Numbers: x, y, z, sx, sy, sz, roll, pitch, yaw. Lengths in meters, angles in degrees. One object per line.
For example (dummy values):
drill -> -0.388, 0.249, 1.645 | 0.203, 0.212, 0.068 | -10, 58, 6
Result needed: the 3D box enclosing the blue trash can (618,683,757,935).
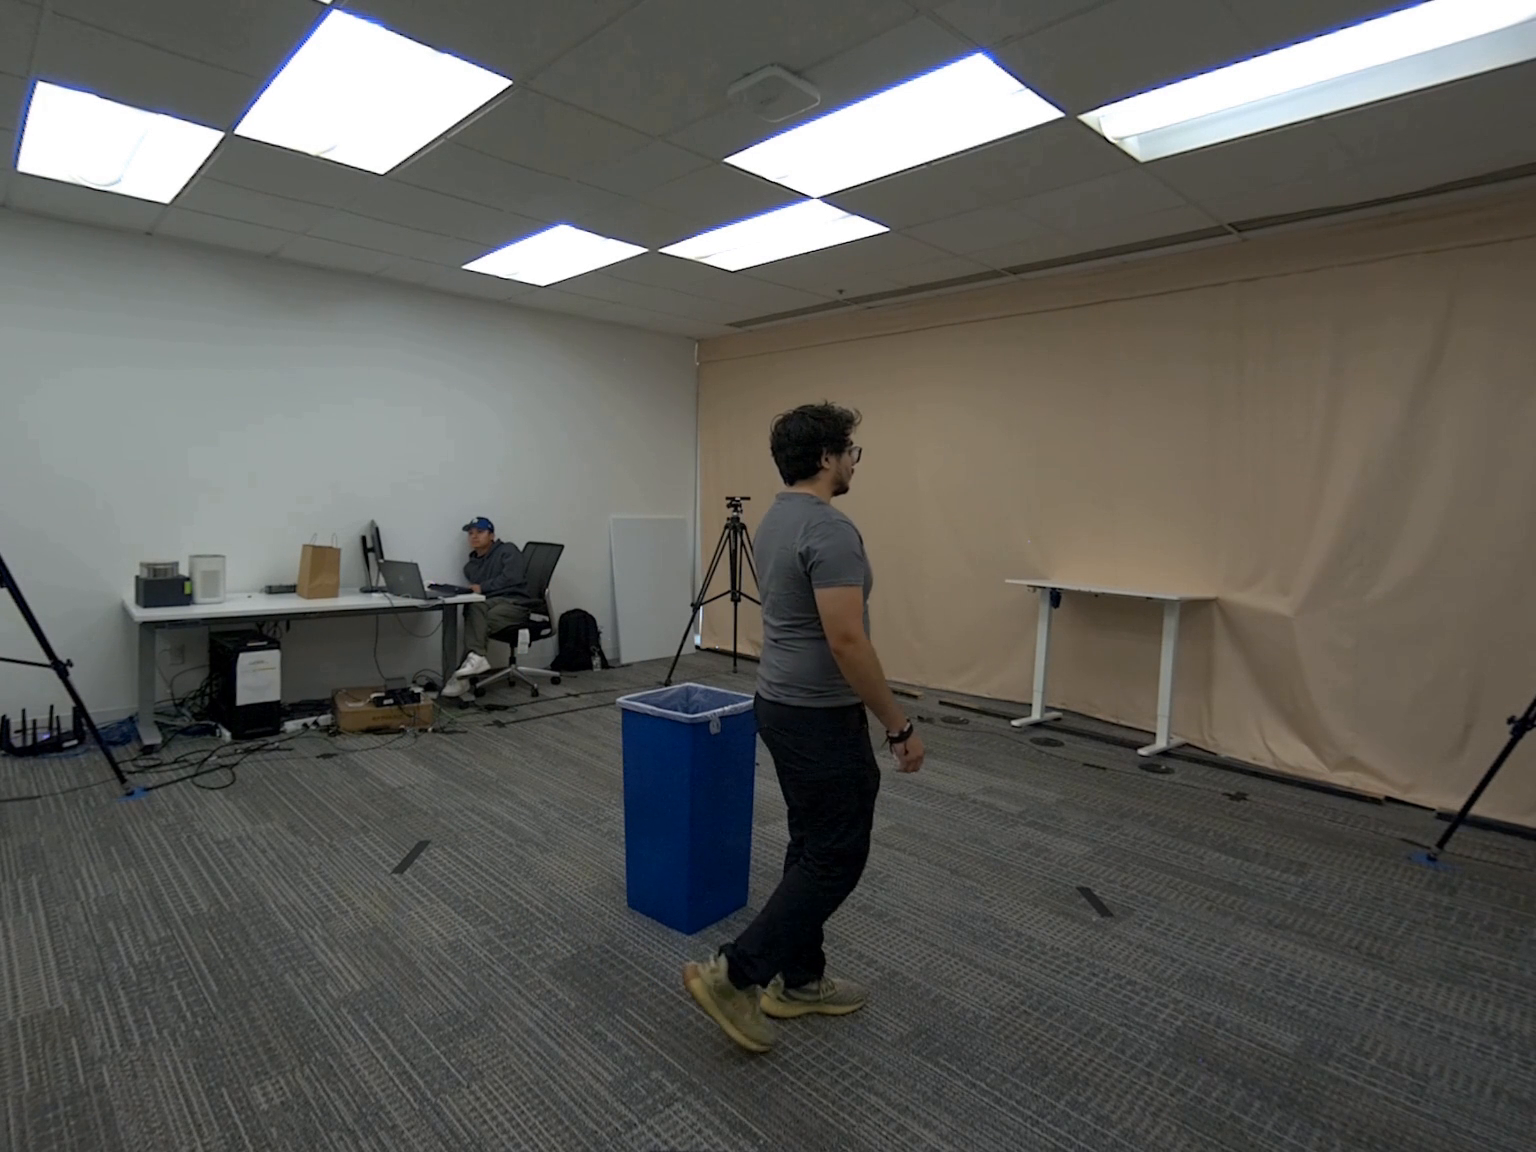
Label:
blue trash can -> -0.283, 0.767, 2.861 | 0.383, 0.712, 0.369 | 4, 4, 40
